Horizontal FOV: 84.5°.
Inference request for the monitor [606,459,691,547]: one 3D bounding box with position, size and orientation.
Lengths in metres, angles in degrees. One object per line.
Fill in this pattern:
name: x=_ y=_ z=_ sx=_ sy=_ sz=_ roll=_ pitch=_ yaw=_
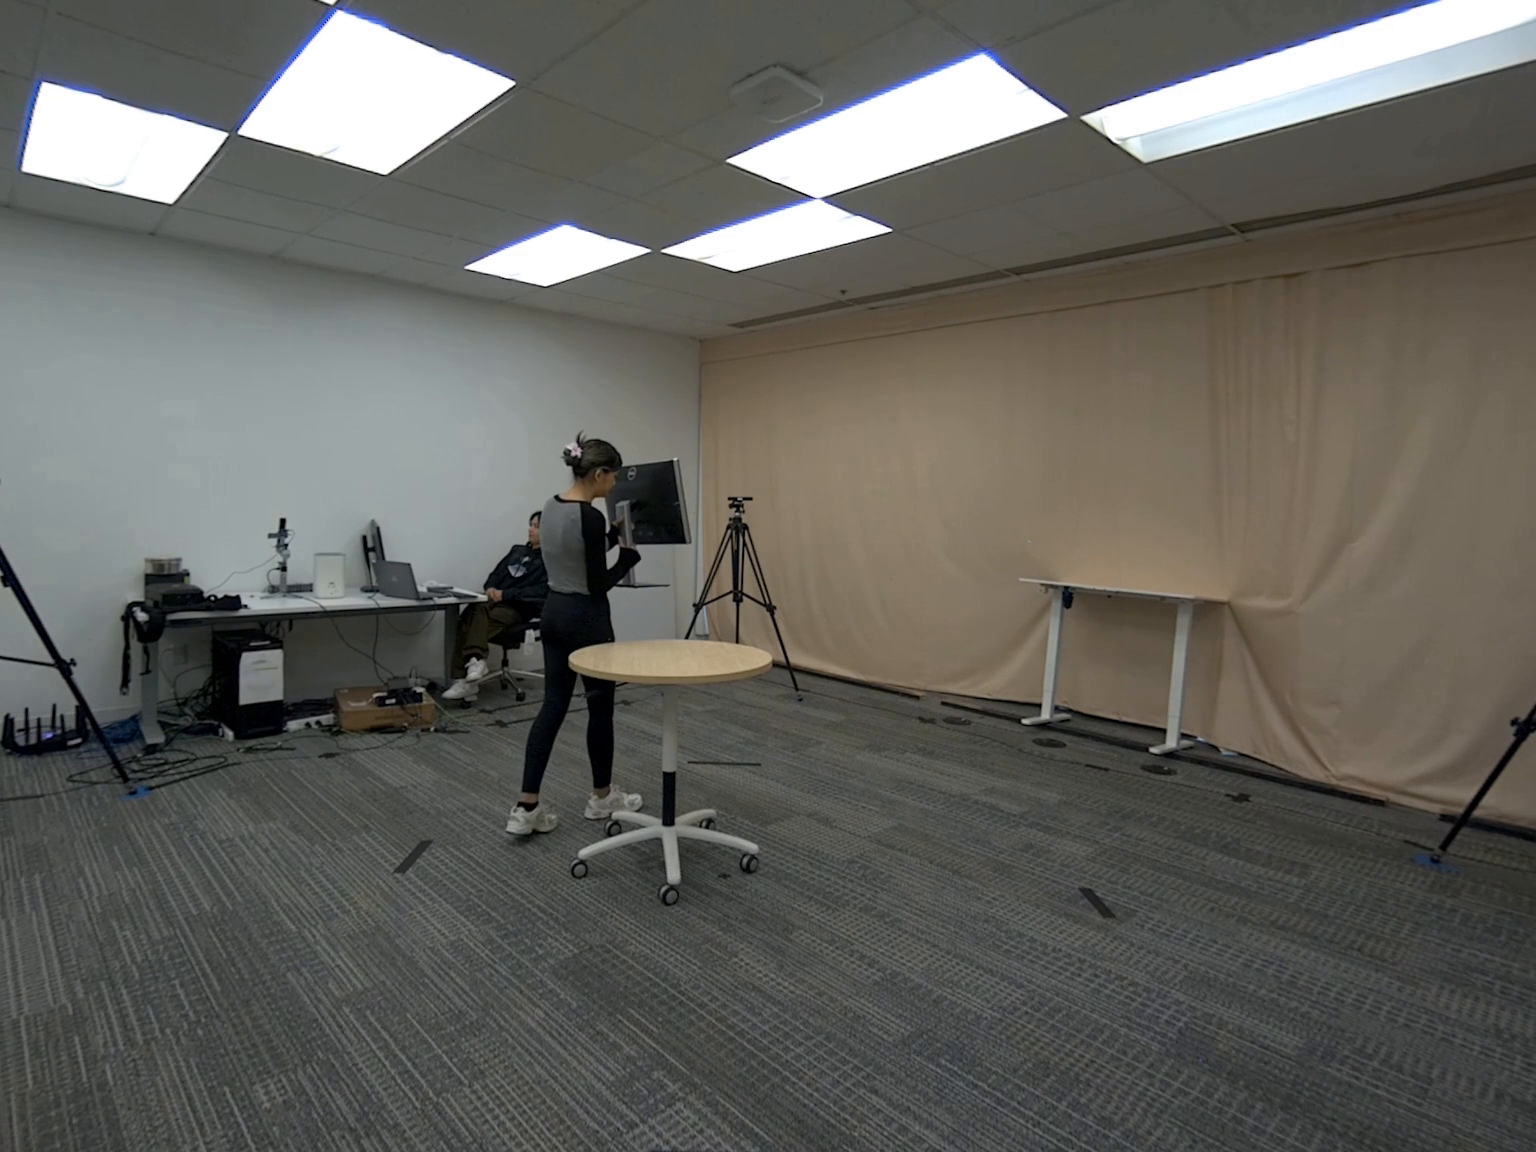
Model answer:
monitor: x=-0.584 y=-0.229 z=3.702 sx=0.552 sy=0.522 sz=0.183 roll=2 pitch=2 yaw=45
